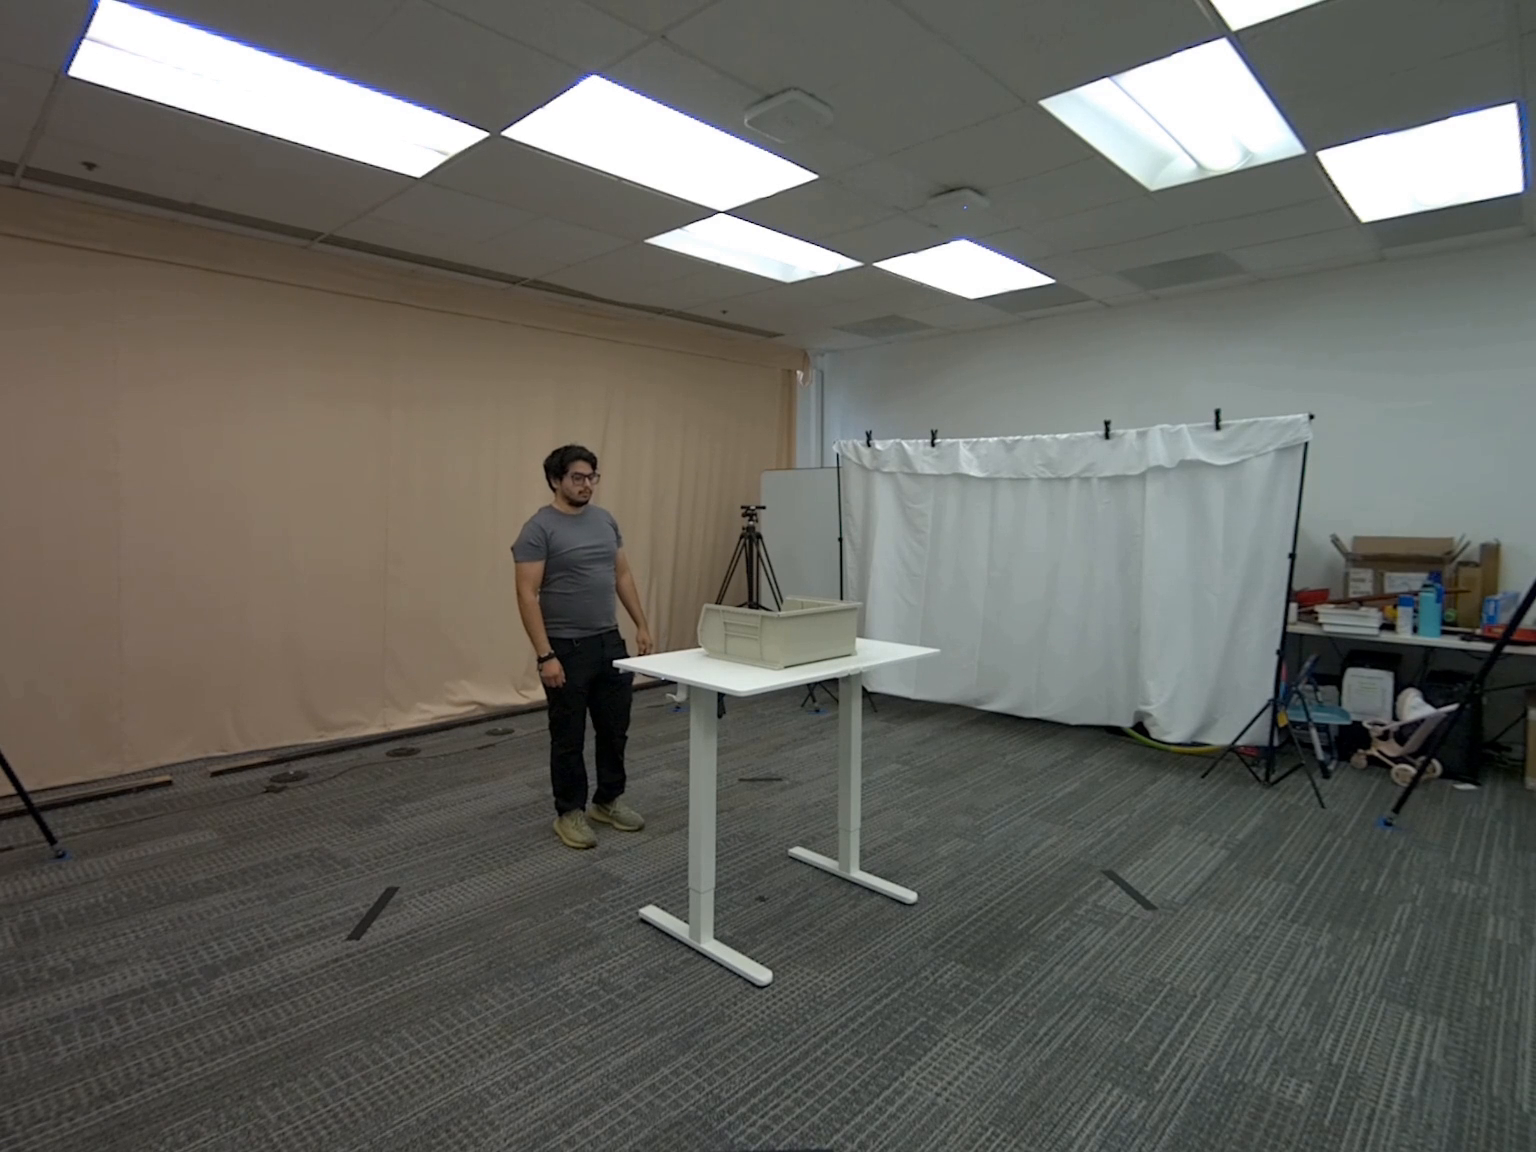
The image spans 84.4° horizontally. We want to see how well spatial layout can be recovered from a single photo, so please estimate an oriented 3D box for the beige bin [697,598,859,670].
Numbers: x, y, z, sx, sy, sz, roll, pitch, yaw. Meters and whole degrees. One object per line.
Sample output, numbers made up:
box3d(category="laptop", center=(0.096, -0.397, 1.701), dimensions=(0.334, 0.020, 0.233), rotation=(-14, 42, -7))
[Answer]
box3d(category="beige bin", center=(0.040, 0.182, 2.856), dimensions=(0.390, 0.188, 0.409), rotation=(6, 7, 44))
